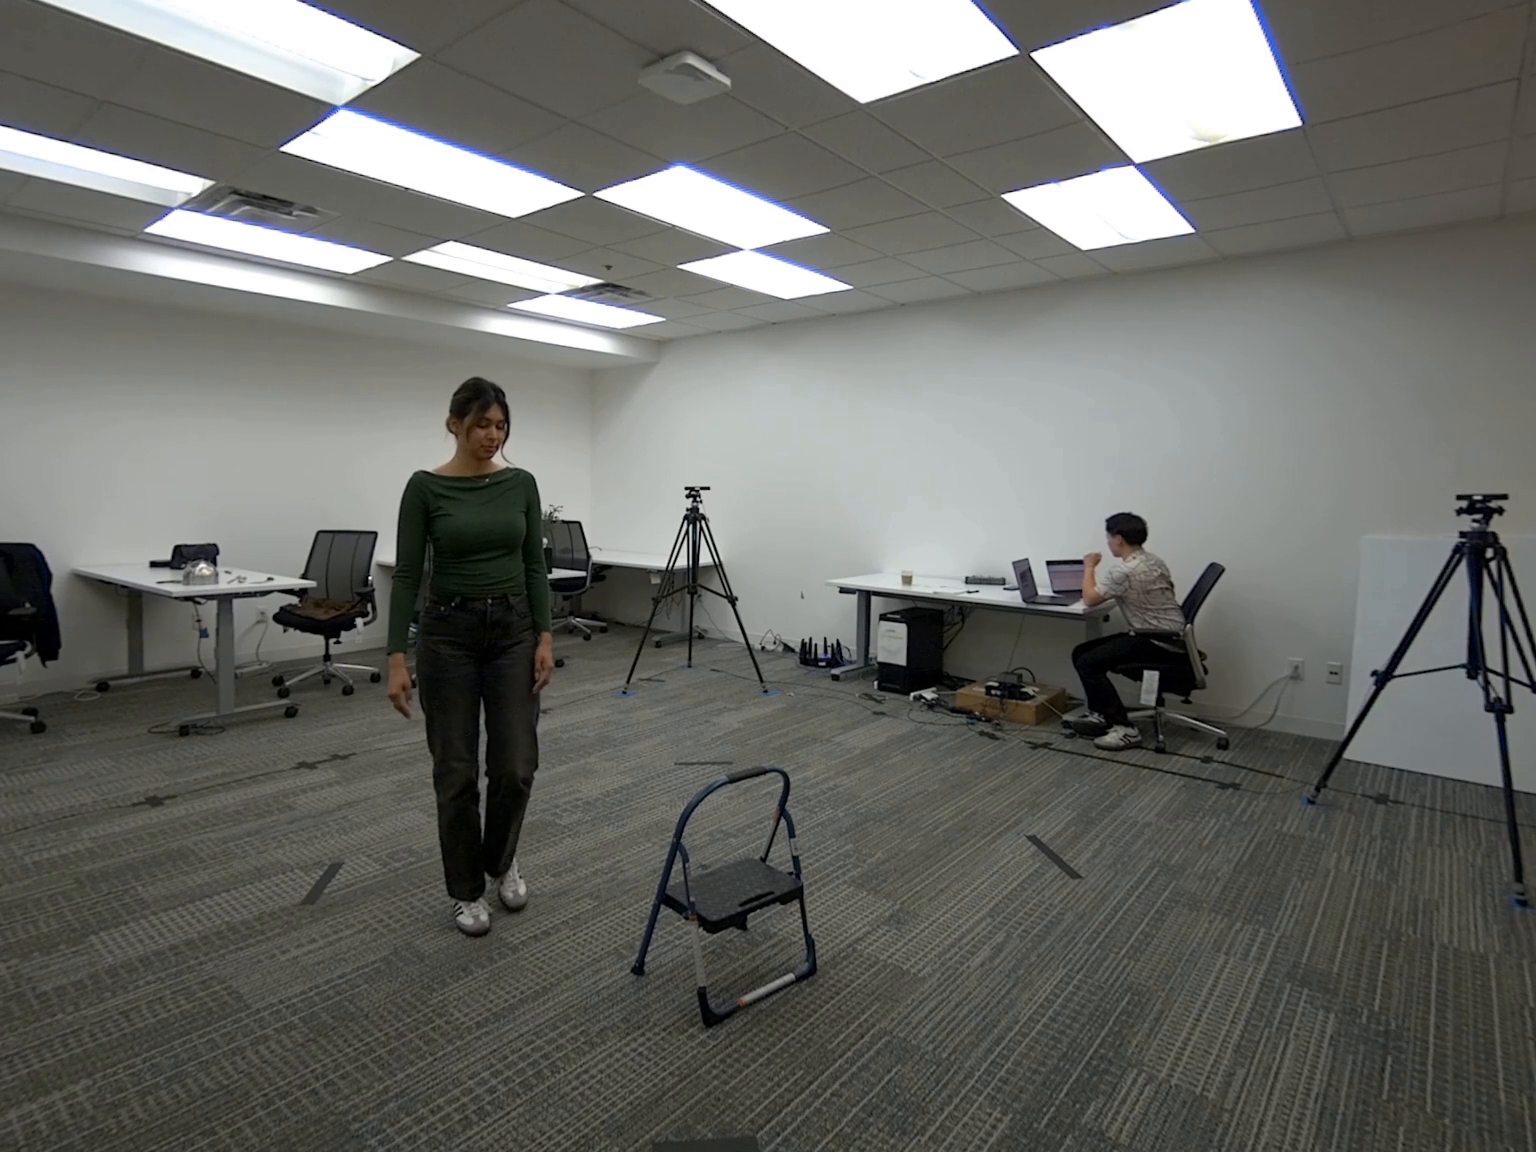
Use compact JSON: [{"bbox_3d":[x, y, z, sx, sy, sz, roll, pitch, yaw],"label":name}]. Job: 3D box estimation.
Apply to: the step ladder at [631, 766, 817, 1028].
[{"bbox_3d":[-0.124,0.834,2.424,0.418,0.604,0.361,-3,5,-42],"label":"step ladder"}]
